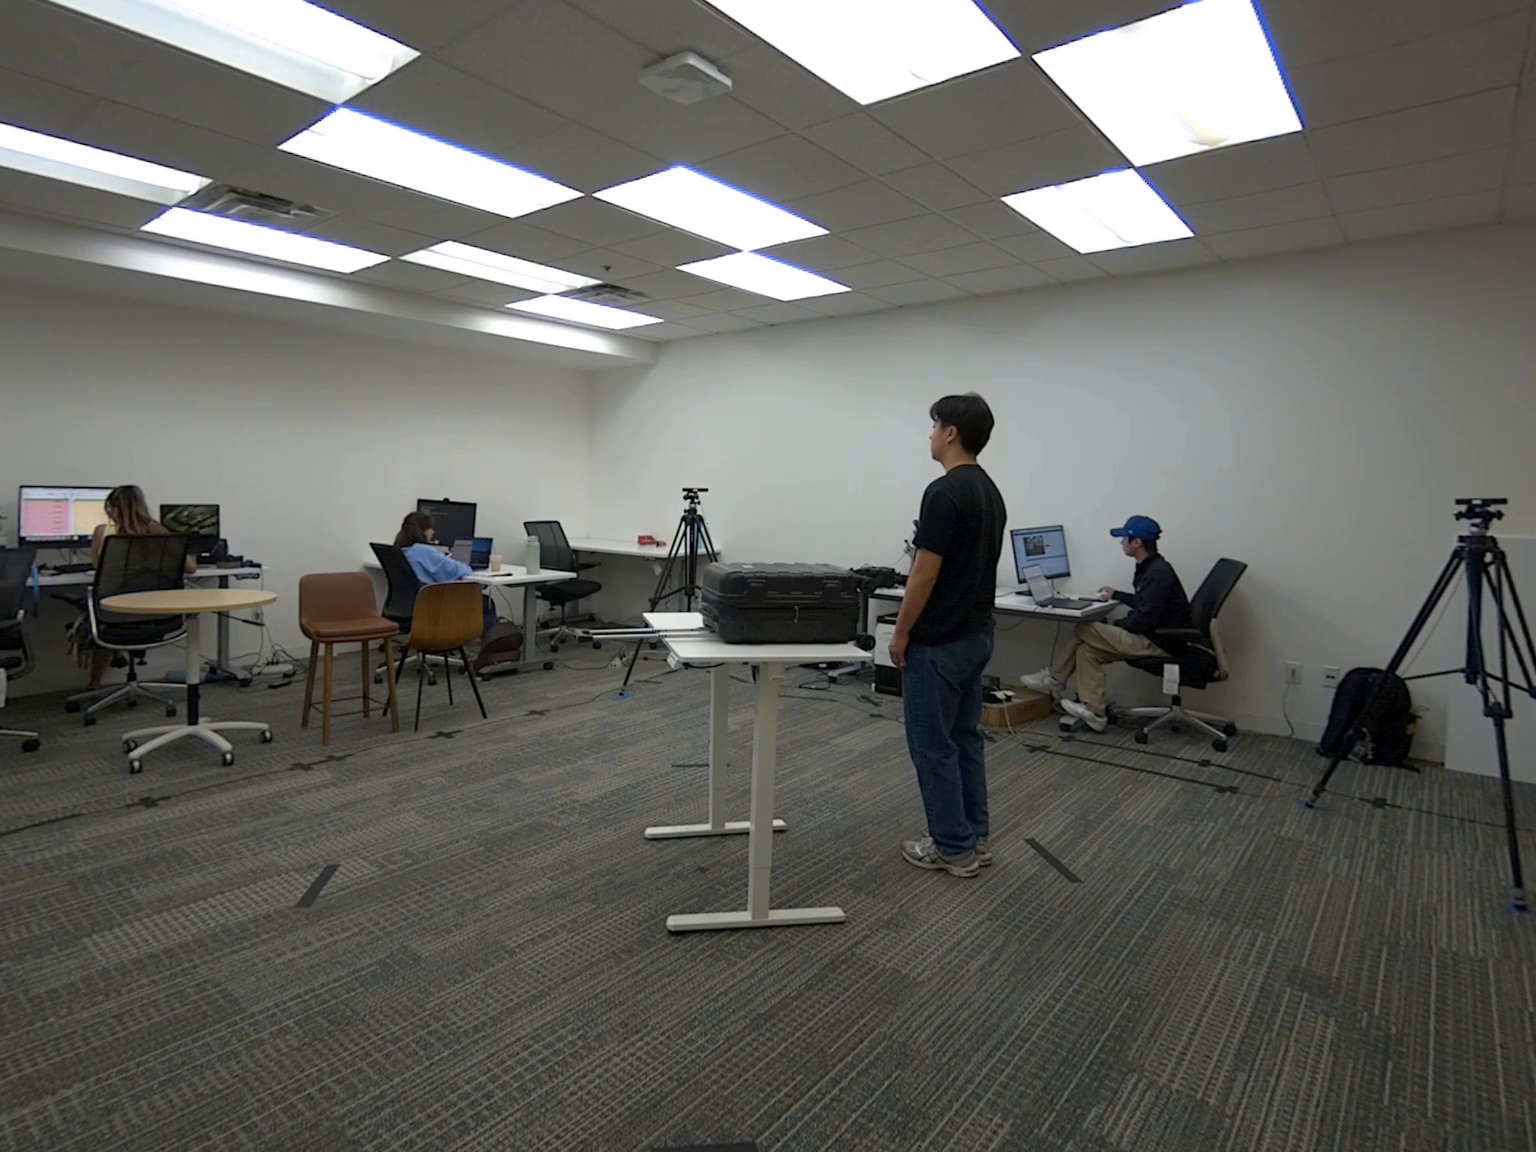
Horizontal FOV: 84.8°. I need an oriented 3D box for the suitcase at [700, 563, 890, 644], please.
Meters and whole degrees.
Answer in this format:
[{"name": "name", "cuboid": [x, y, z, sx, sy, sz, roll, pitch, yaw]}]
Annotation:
[{"name": "suitcase", "cuboid": [-0.153, 0.080, 2.889, 0.963, 0.256, 0.392, 2, 5, -15]}]
